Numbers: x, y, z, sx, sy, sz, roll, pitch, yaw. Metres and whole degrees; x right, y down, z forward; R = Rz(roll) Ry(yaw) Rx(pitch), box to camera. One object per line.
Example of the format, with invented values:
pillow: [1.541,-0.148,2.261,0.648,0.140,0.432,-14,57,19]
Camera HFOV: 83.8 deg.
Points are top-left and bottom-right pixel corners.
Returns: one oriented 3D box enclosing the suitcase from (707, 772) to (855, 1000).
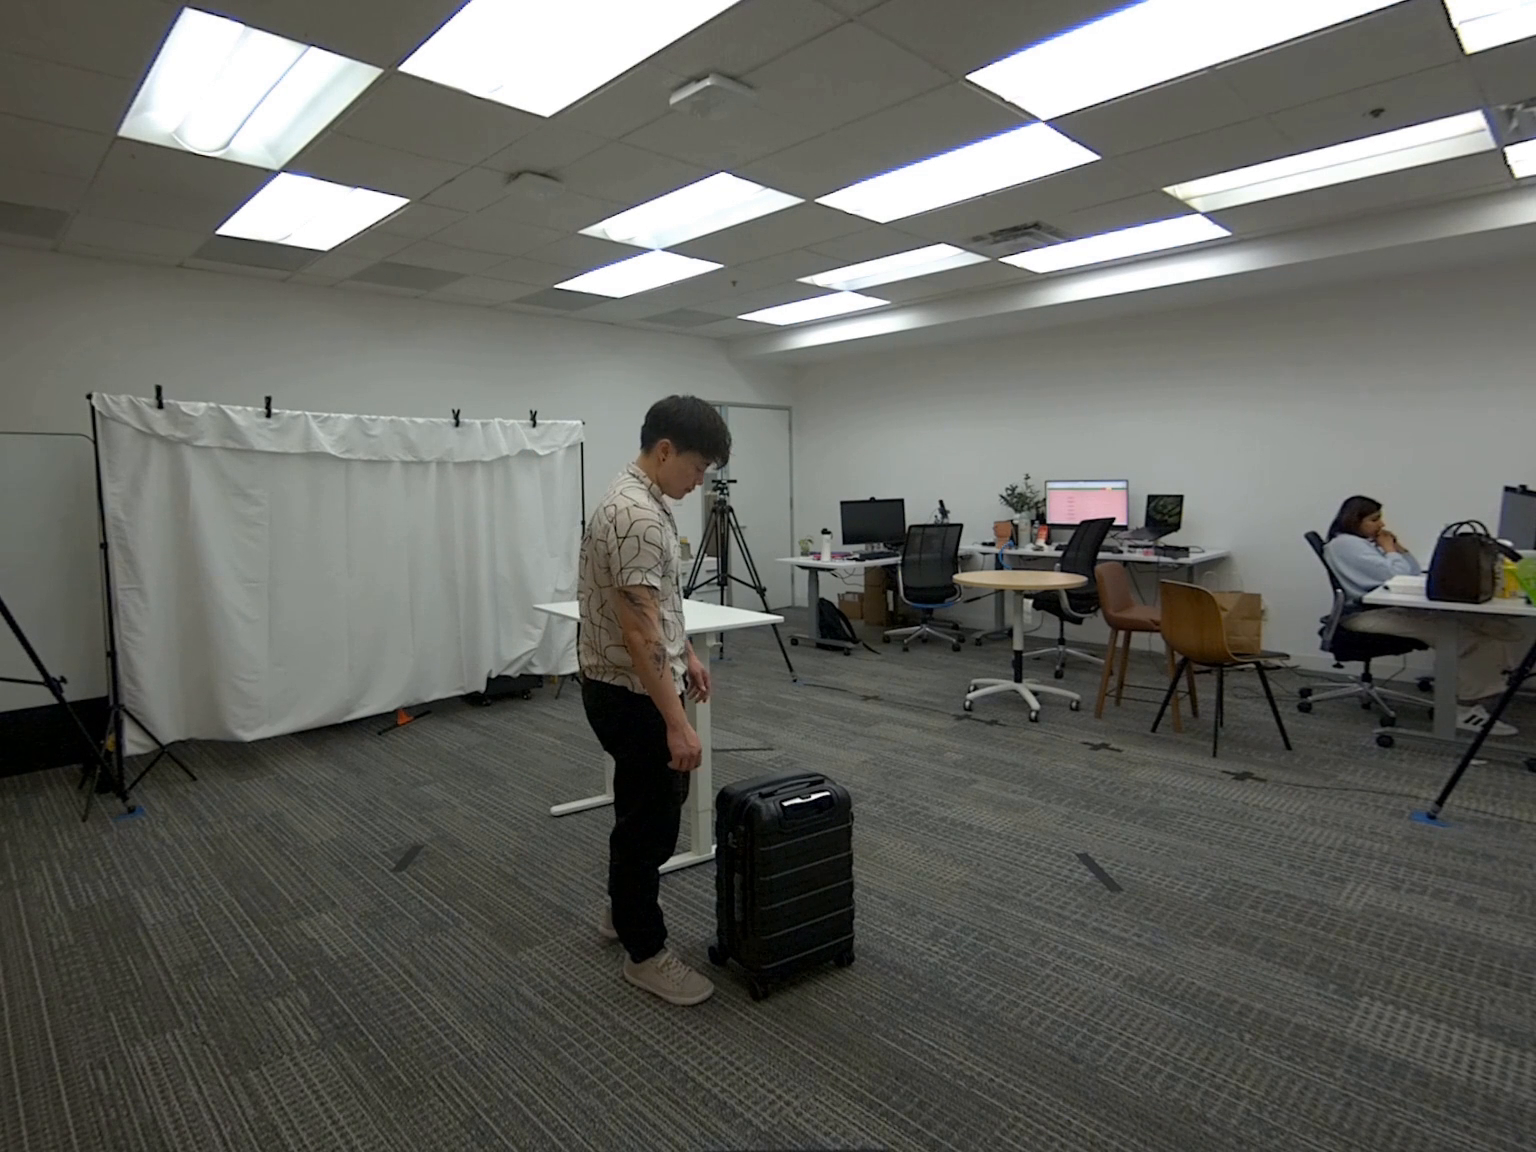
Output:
suitcase: [0.049,0.843,2.438,0.366,0.547,0.256,-4,6,-33]
